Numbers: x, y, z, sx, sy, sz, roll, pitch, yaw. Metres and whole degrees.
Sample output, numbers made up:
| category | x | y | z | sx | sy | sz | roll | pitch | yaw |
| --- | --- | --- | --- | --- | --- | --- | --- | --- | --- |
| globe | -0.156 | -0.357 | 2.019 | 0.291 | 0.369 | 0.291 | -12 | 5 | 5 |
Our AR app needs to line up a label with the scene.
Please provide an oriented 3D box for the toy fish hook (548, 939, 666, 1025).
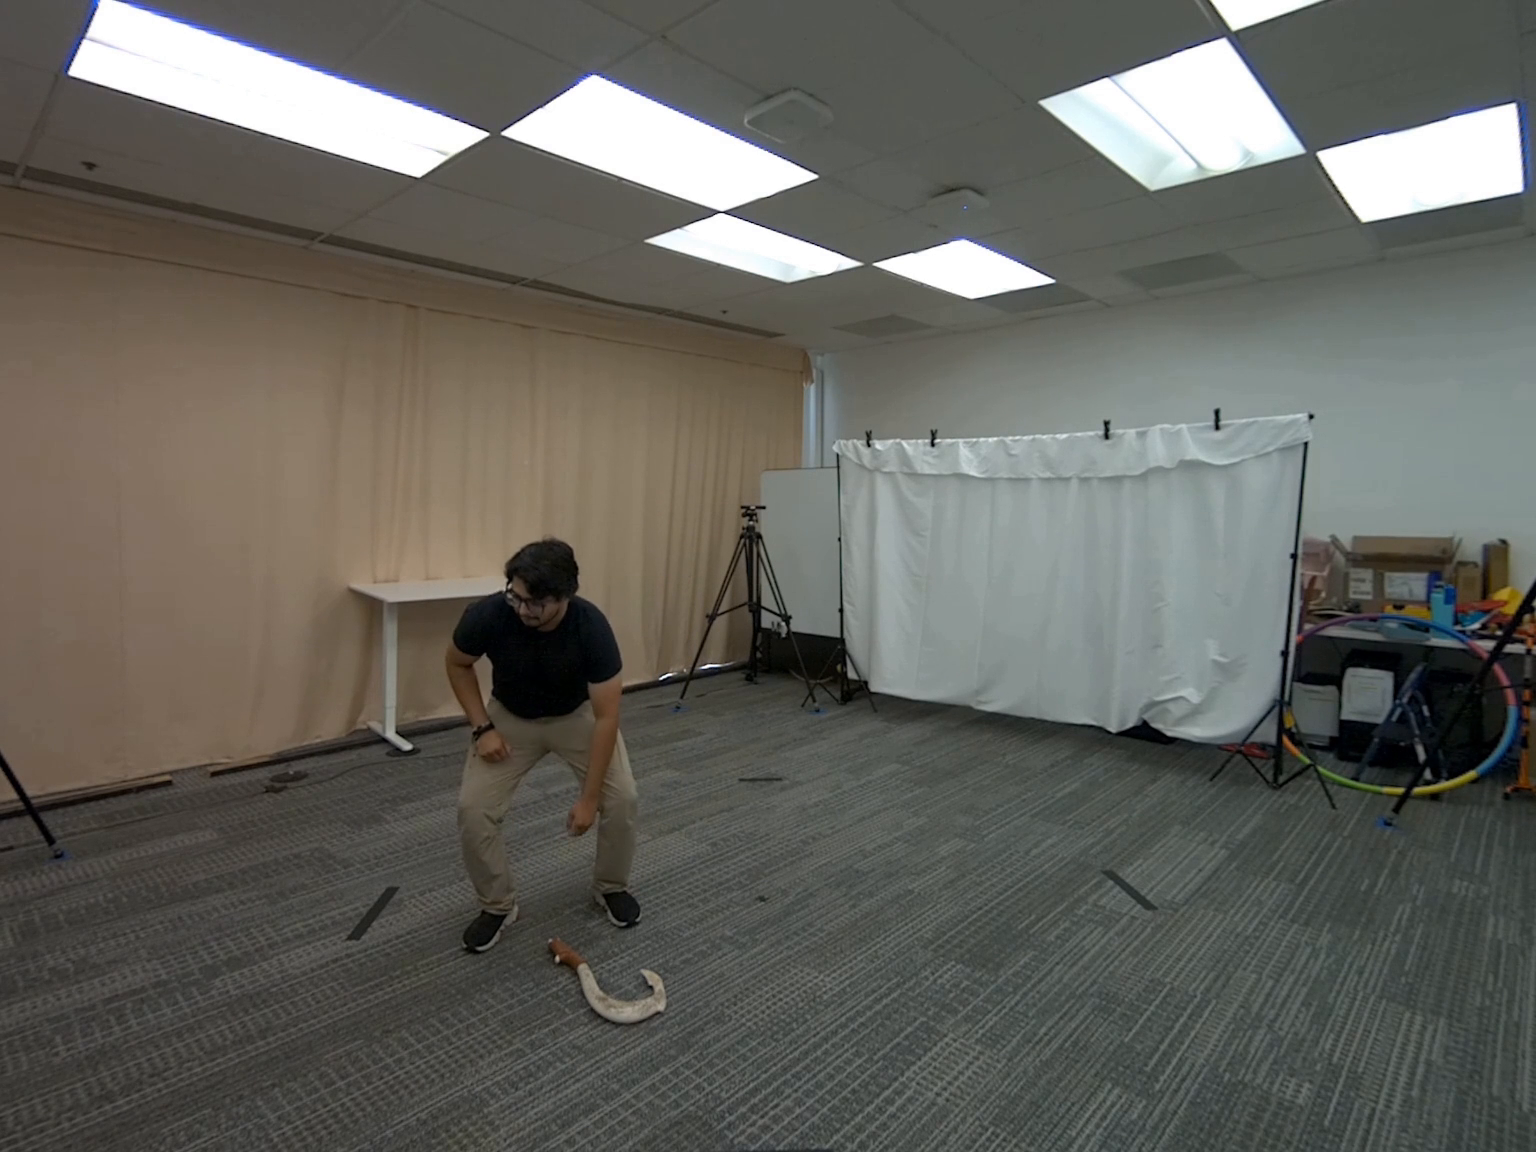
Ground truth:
| category | x | y | z | sx | sy | sz | roll | pitch | yaw |
| --- | --- | --- | --- | --- | --- | --- | --- | --- | --- |
| toy fish hook | -0.478 | 1.175 | 2.476 | 0.217 | 0.048 | 0.523 | 5 | 1 | -39 |
